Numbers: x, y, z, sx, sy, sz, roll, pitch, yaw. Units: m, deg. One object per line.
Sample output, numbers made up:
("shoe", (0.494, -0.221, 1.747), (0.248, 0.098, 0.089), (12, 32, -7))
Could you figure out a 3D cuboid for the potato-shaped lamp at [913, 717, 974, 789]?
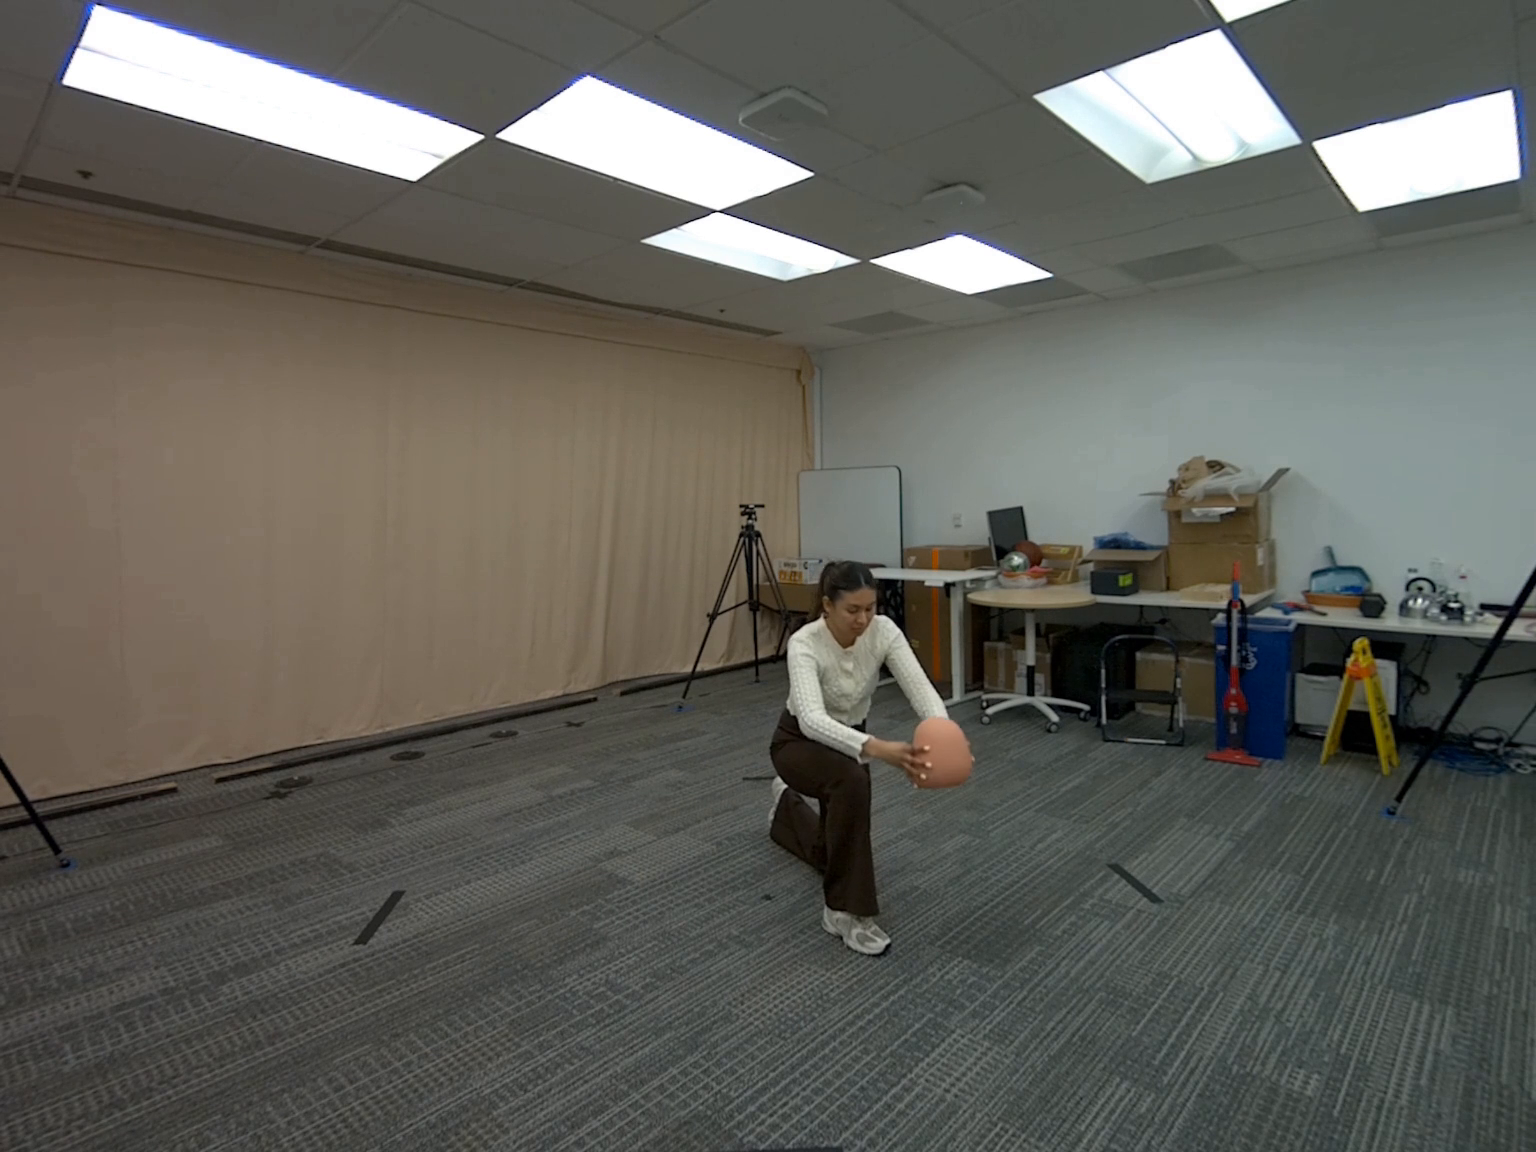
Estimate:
("potato-shaped lamp", (0.488, 0.503, 2.398), (0.163, 0.200, 0.171), (-2, -18, -11))
